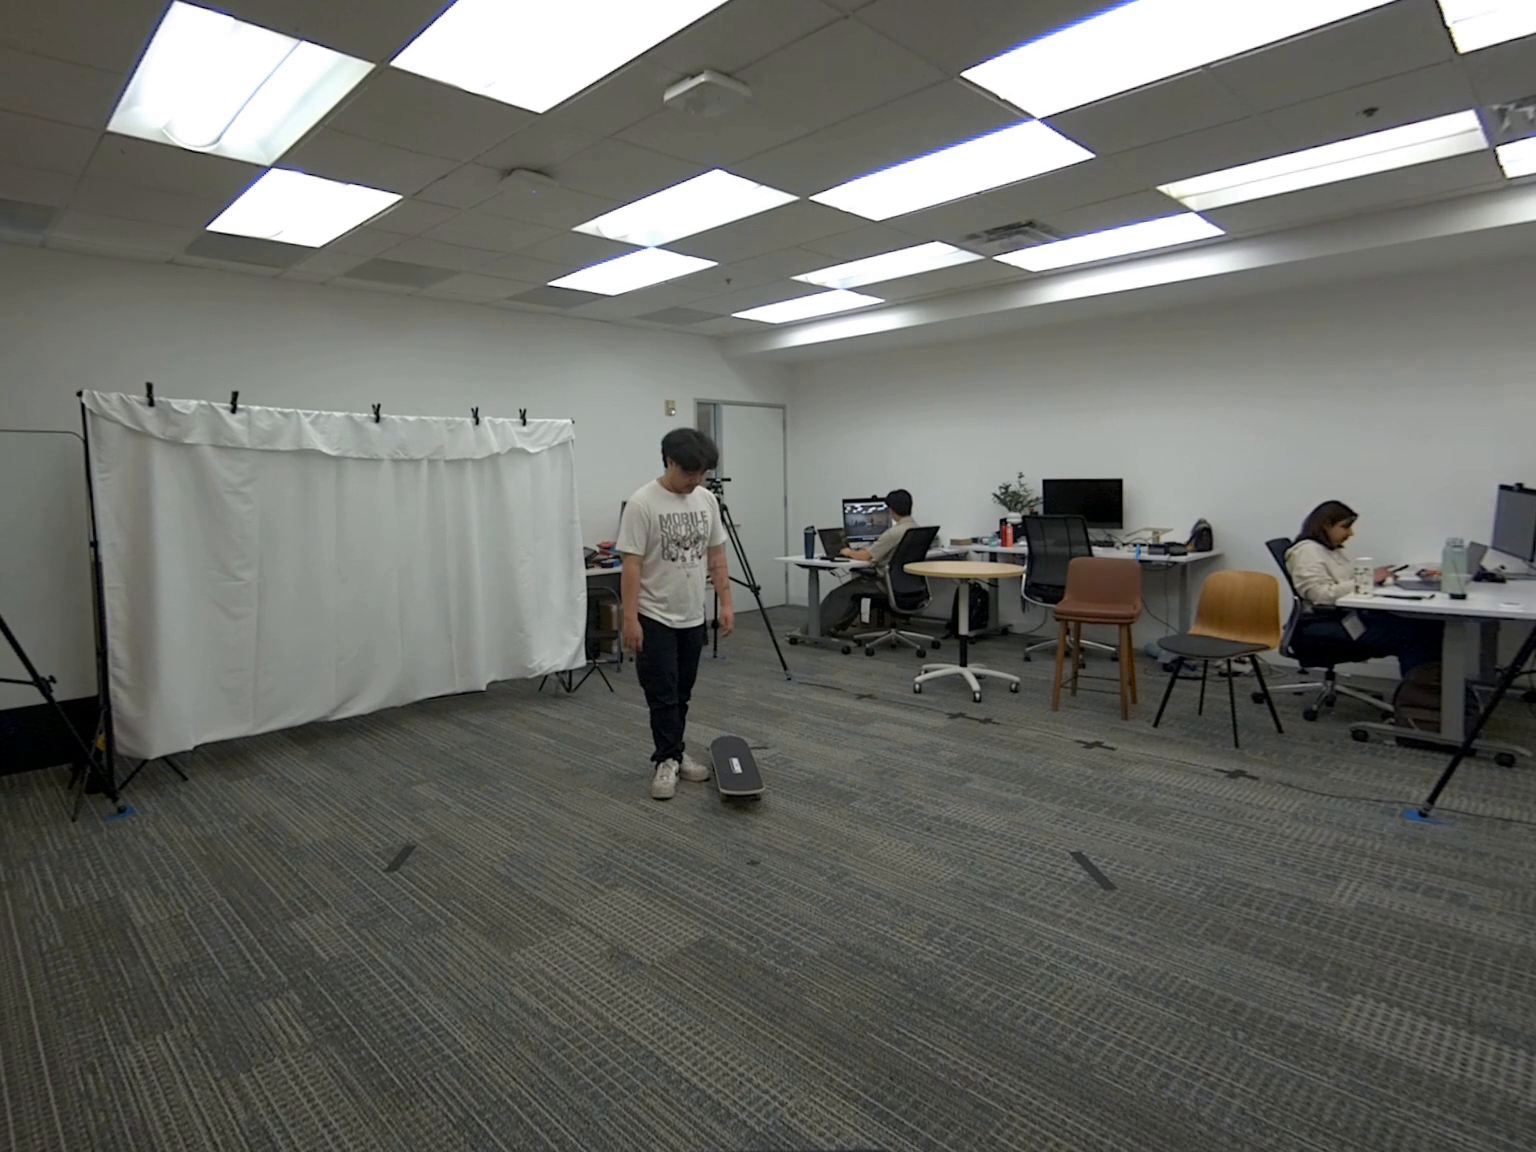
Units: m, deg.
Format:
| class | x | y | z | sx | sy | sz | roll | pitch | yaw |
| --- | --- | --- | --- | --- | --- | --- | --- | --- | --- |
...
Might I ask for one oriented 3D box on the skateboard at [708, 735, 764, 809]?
| class | x | y | z | sx | sy | sz | roll | pitch | yaw |
| --- | --- | --- | --- | --- | --- | --- | --- | --- | --- |
| skateboard | -0.145 | 0.894 | 3.900 | 0.192 | 0.110 | 0.794 | -2 | 6 | -8 |
